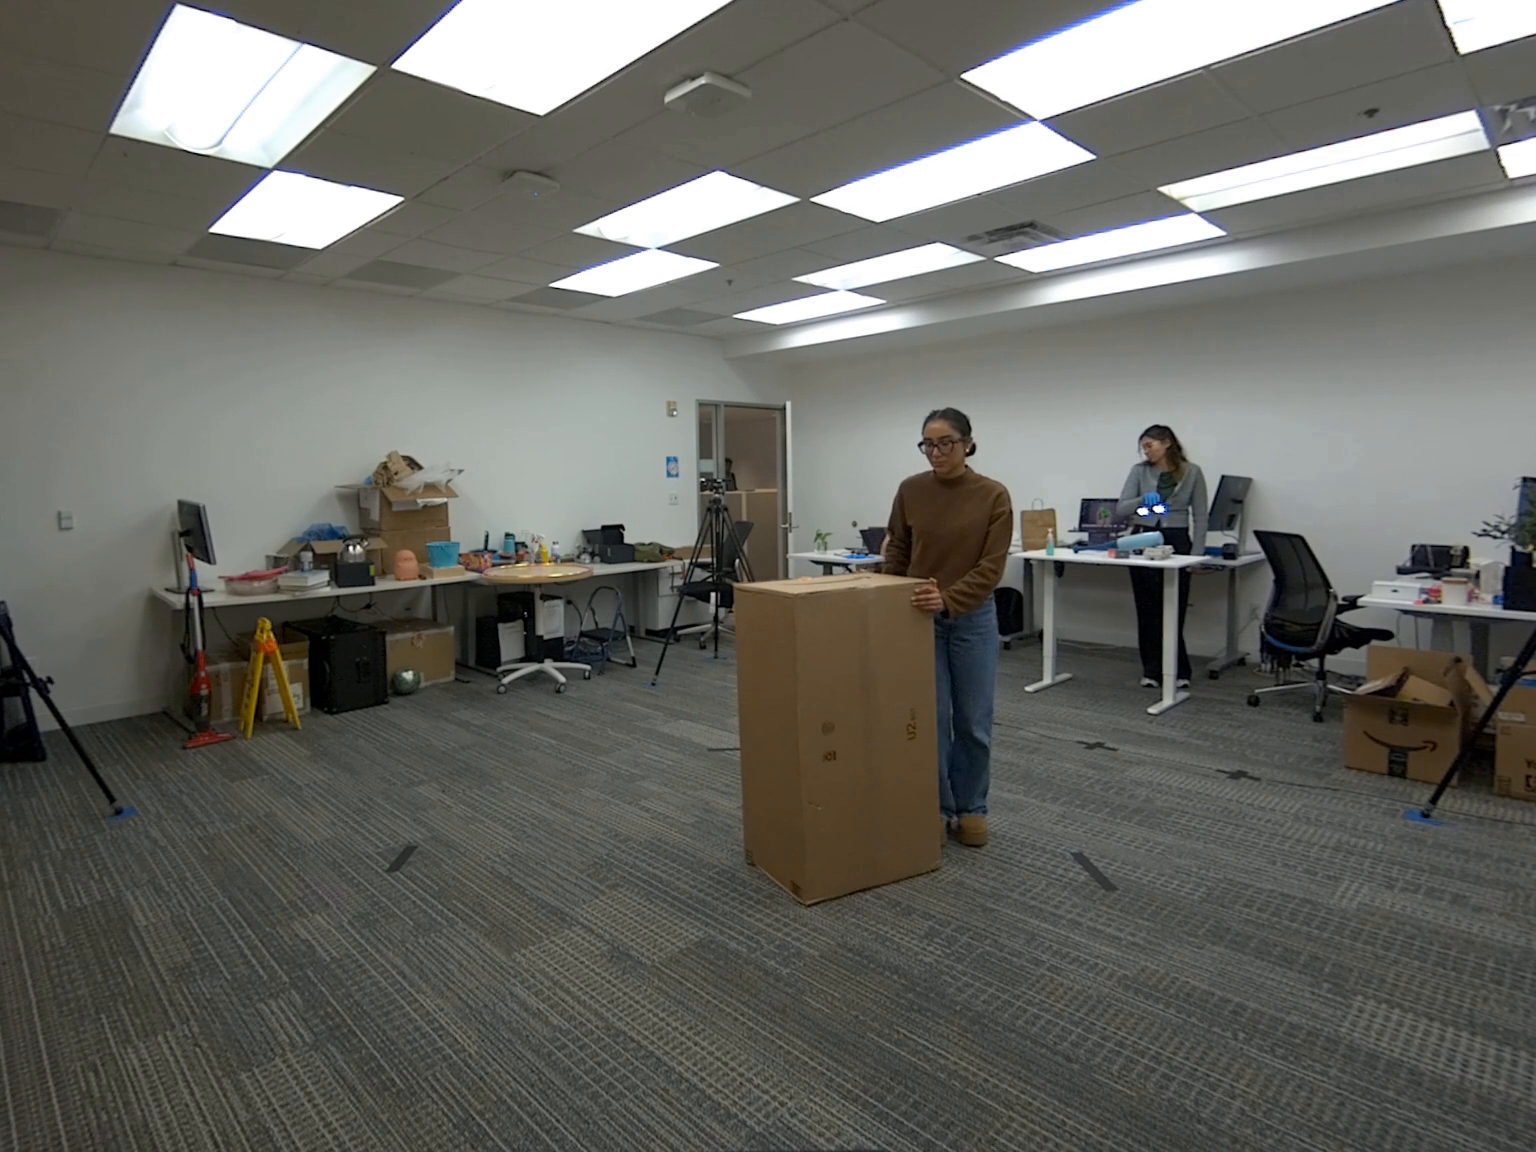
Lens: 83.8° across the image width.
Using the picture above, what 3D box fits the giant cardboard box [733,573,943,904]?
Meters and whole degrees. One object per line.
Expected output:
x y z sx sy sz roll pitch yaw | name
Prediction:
0.243 0.533 3.064 0.565 1.023 0.437 -3 3 -28 | giant cardboard box
